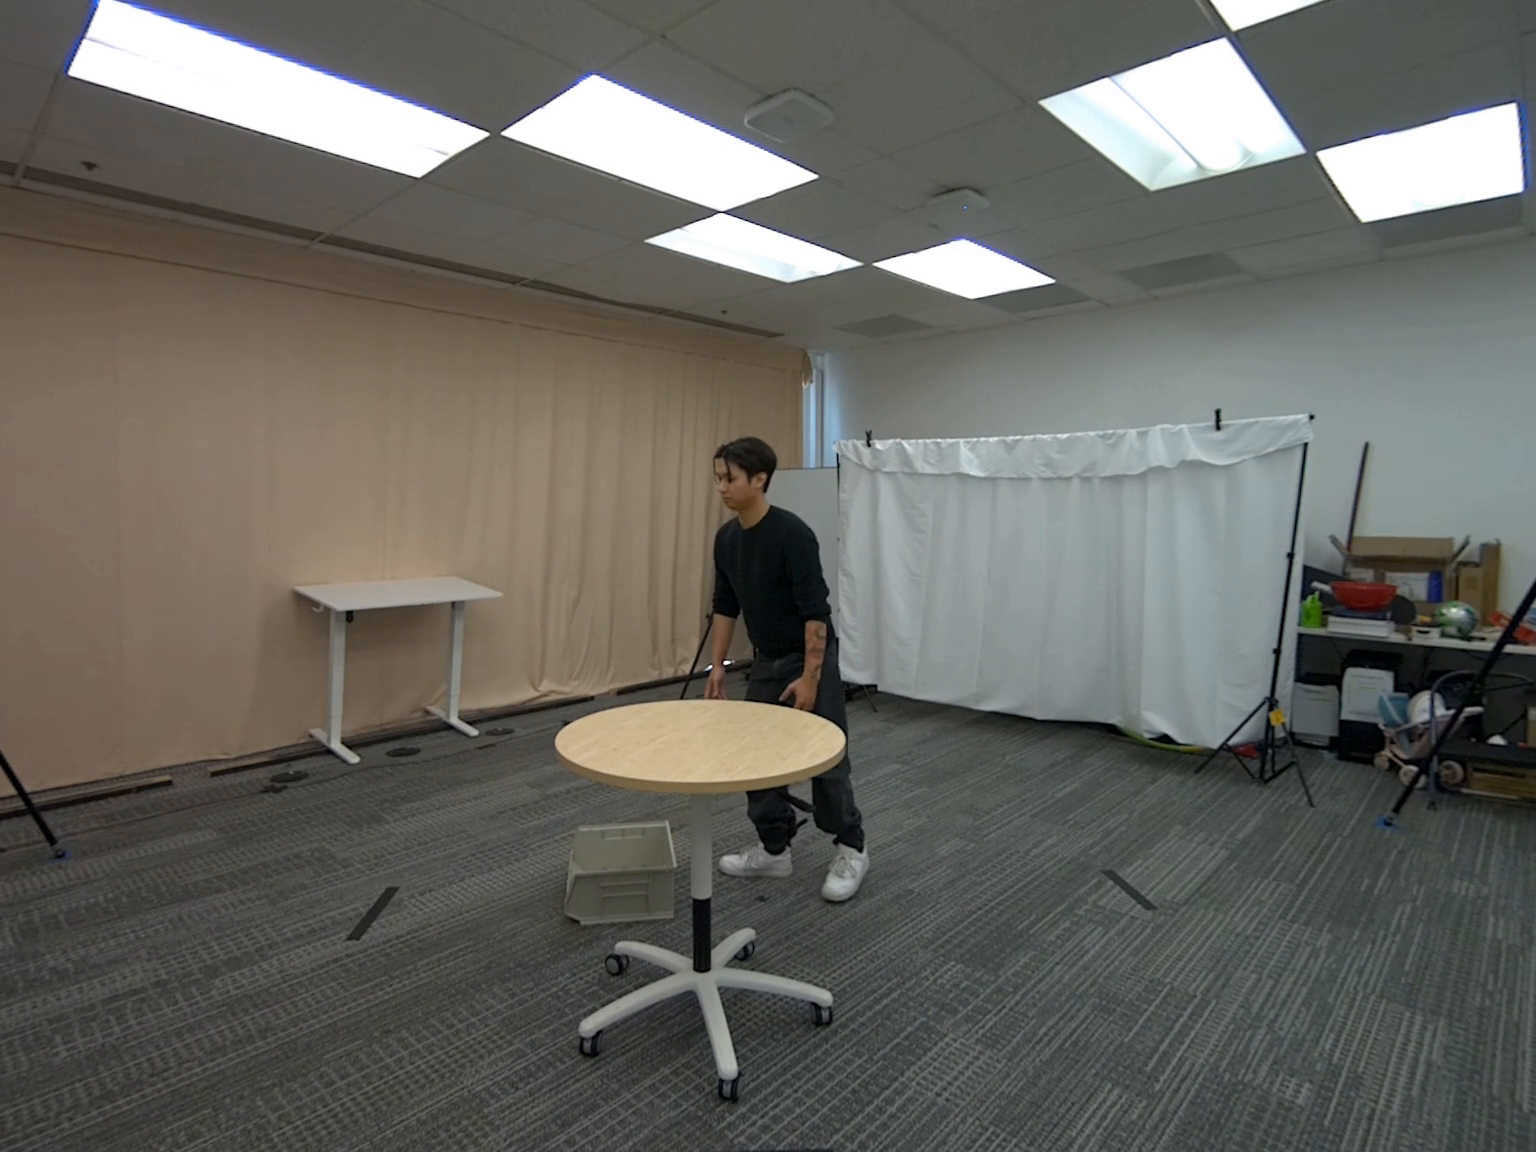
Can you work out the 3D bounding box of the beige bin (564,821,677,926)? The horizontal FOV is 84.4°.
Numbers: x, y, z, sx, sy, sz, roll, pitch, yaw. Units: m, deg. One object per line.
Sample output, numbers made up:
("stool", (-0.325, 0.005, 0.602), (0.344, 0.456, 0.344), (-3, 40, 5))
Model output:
("beige bin", (-0.533, 1.062, 3.020), (0.374, 0.188, 0.427), (-1, 4, -9))
